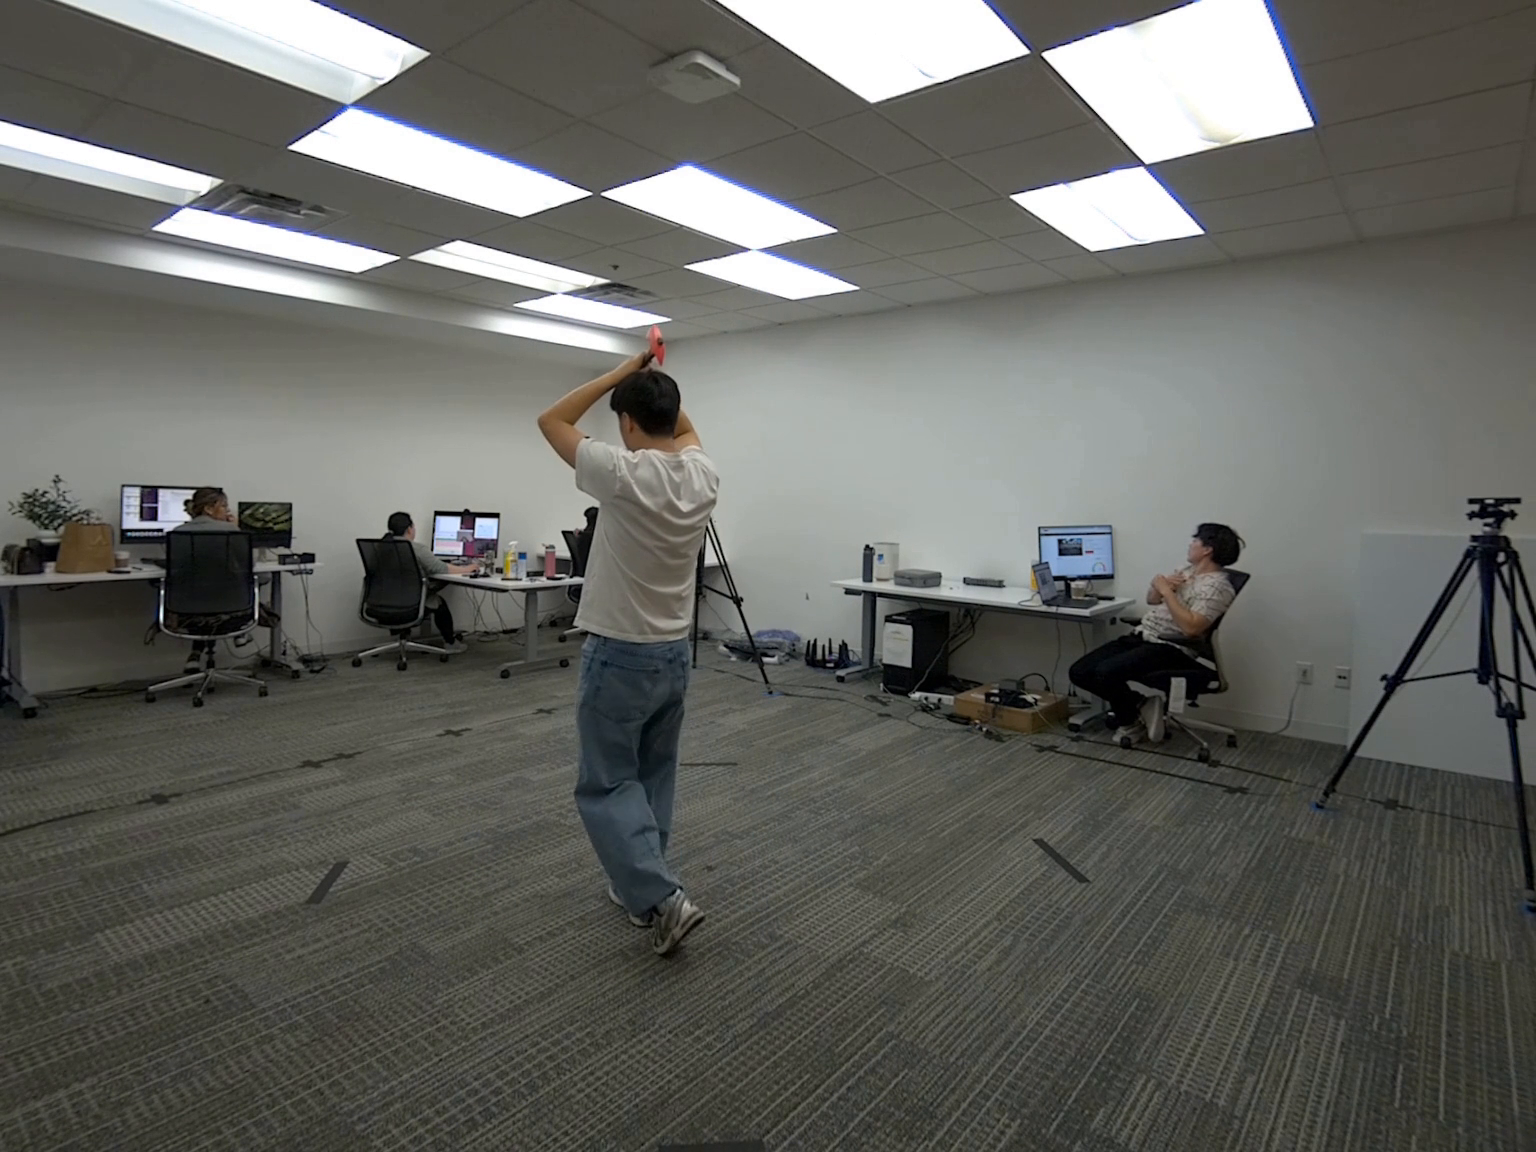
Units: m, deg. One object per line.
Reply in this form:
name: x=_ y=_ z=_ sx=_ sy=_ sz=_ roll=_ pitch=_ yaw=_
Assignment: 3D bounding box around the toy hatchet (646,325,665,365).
toy hatchet: x=-0.396 y=-0.699 z=2.631 sx=0.029 sy=0.130 sz=0.278 roll=-6 pitch=6 yaw=-29
